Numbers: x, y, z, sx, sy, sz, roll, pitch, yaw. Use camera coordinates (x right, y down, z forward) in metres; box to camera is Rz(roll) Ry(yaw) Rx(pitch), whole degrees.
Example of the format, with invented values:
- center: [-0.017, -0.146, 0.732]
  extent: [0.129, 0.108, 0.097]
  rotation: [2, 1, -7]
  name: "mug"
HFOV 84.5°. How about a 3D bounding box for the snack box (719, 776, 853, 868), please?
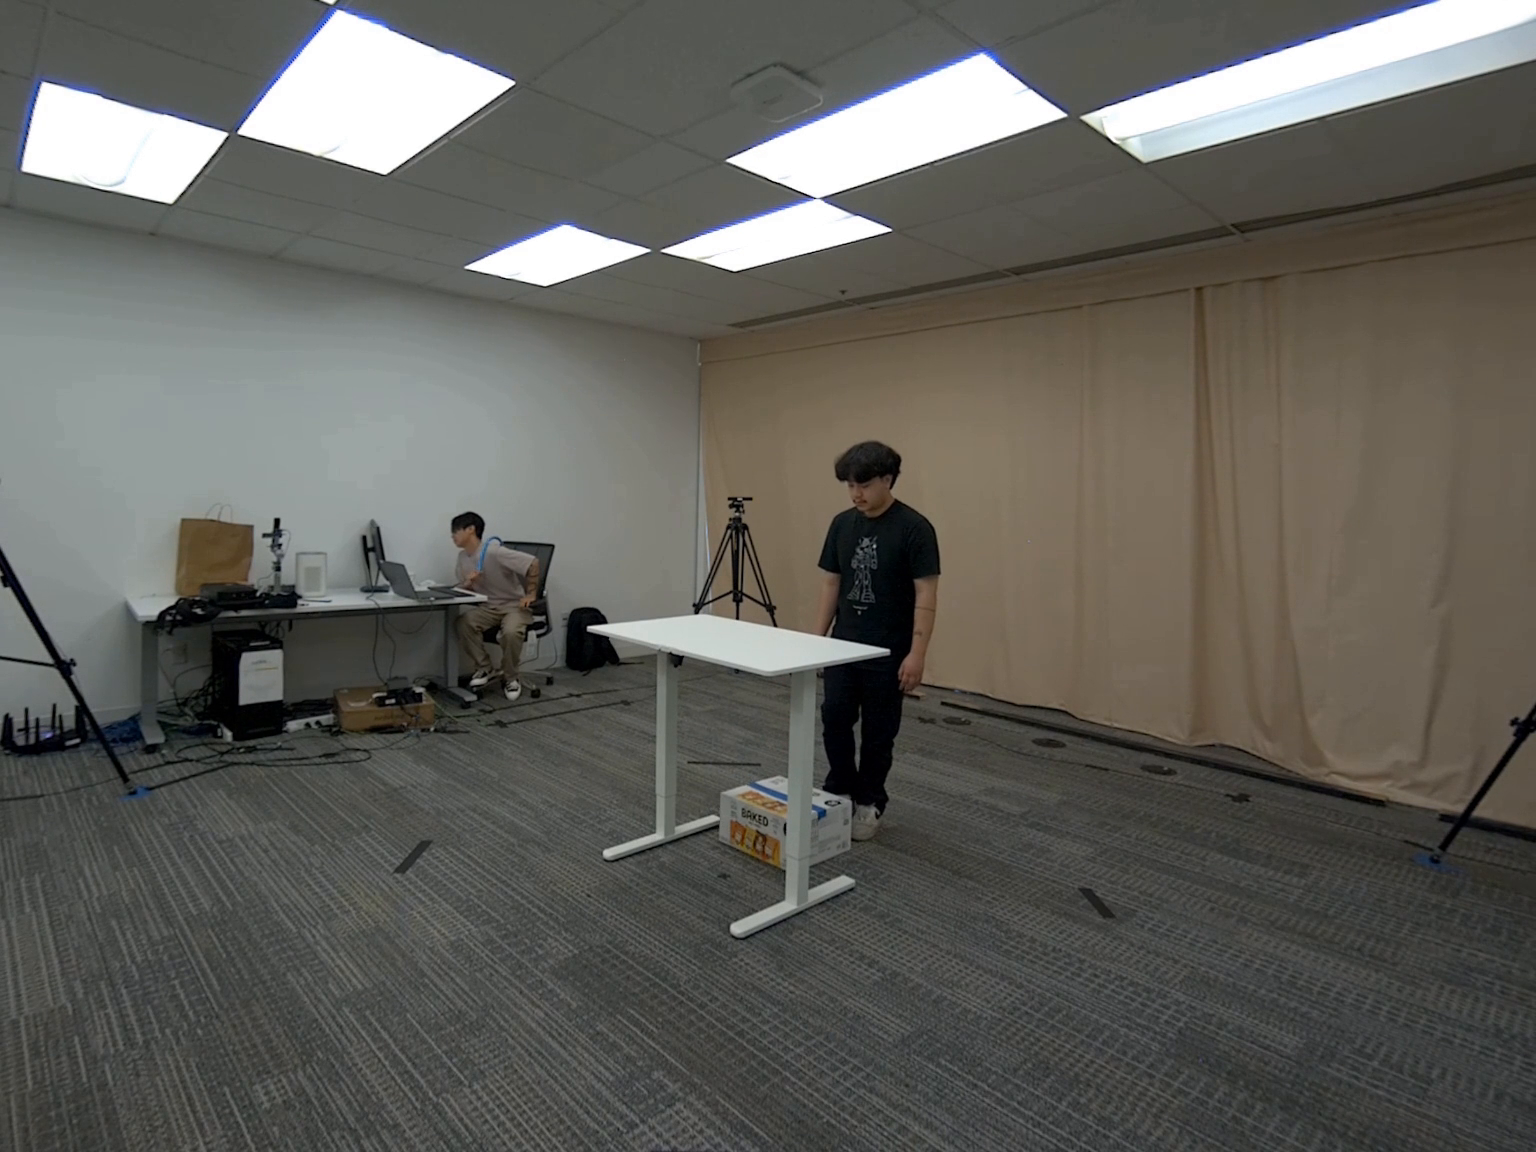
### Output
- center: [0.057, 0.989, 3.376]
  extent: [0.333, 0.205, 0.415]
  rotation: [-4, 6, -44]
  name: "snack box"
